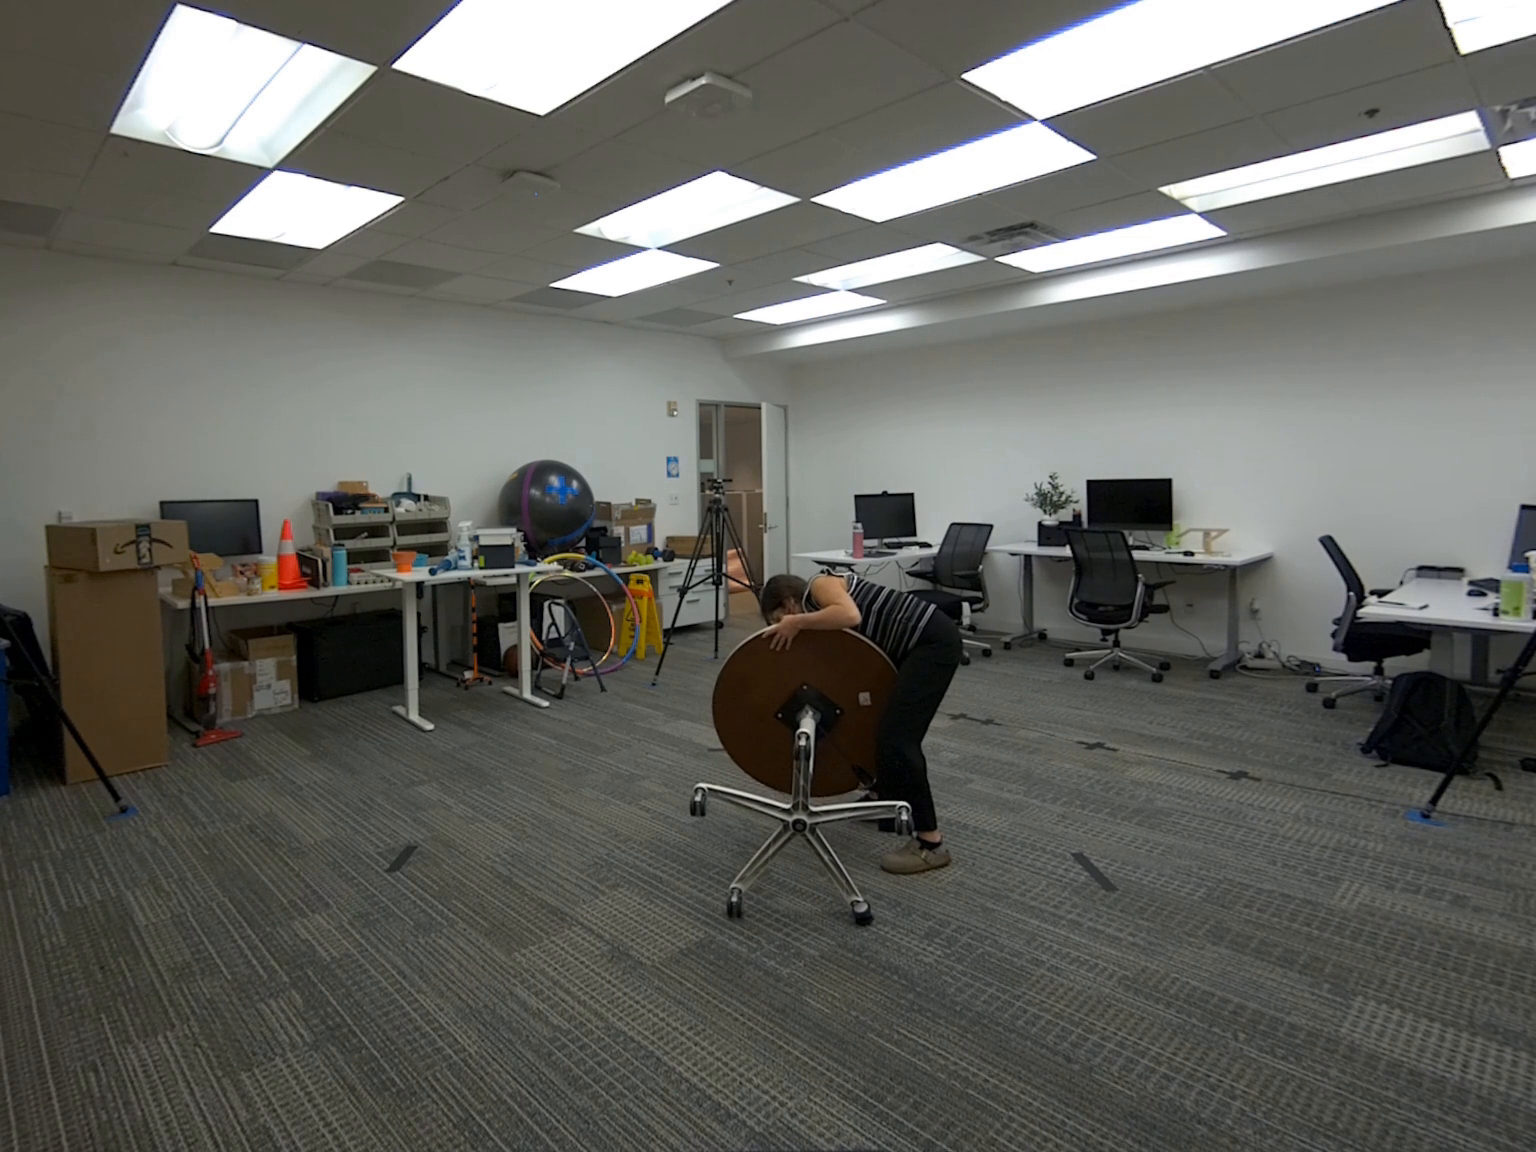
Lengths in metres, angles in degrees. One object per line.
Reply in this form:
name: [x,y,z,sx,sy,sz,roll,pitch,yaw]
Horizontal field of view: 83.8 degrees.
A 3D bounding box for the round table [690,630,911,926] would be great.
round table: [0.131,0.670,2.962,0.791,0.771,0.794,0,20,7]
